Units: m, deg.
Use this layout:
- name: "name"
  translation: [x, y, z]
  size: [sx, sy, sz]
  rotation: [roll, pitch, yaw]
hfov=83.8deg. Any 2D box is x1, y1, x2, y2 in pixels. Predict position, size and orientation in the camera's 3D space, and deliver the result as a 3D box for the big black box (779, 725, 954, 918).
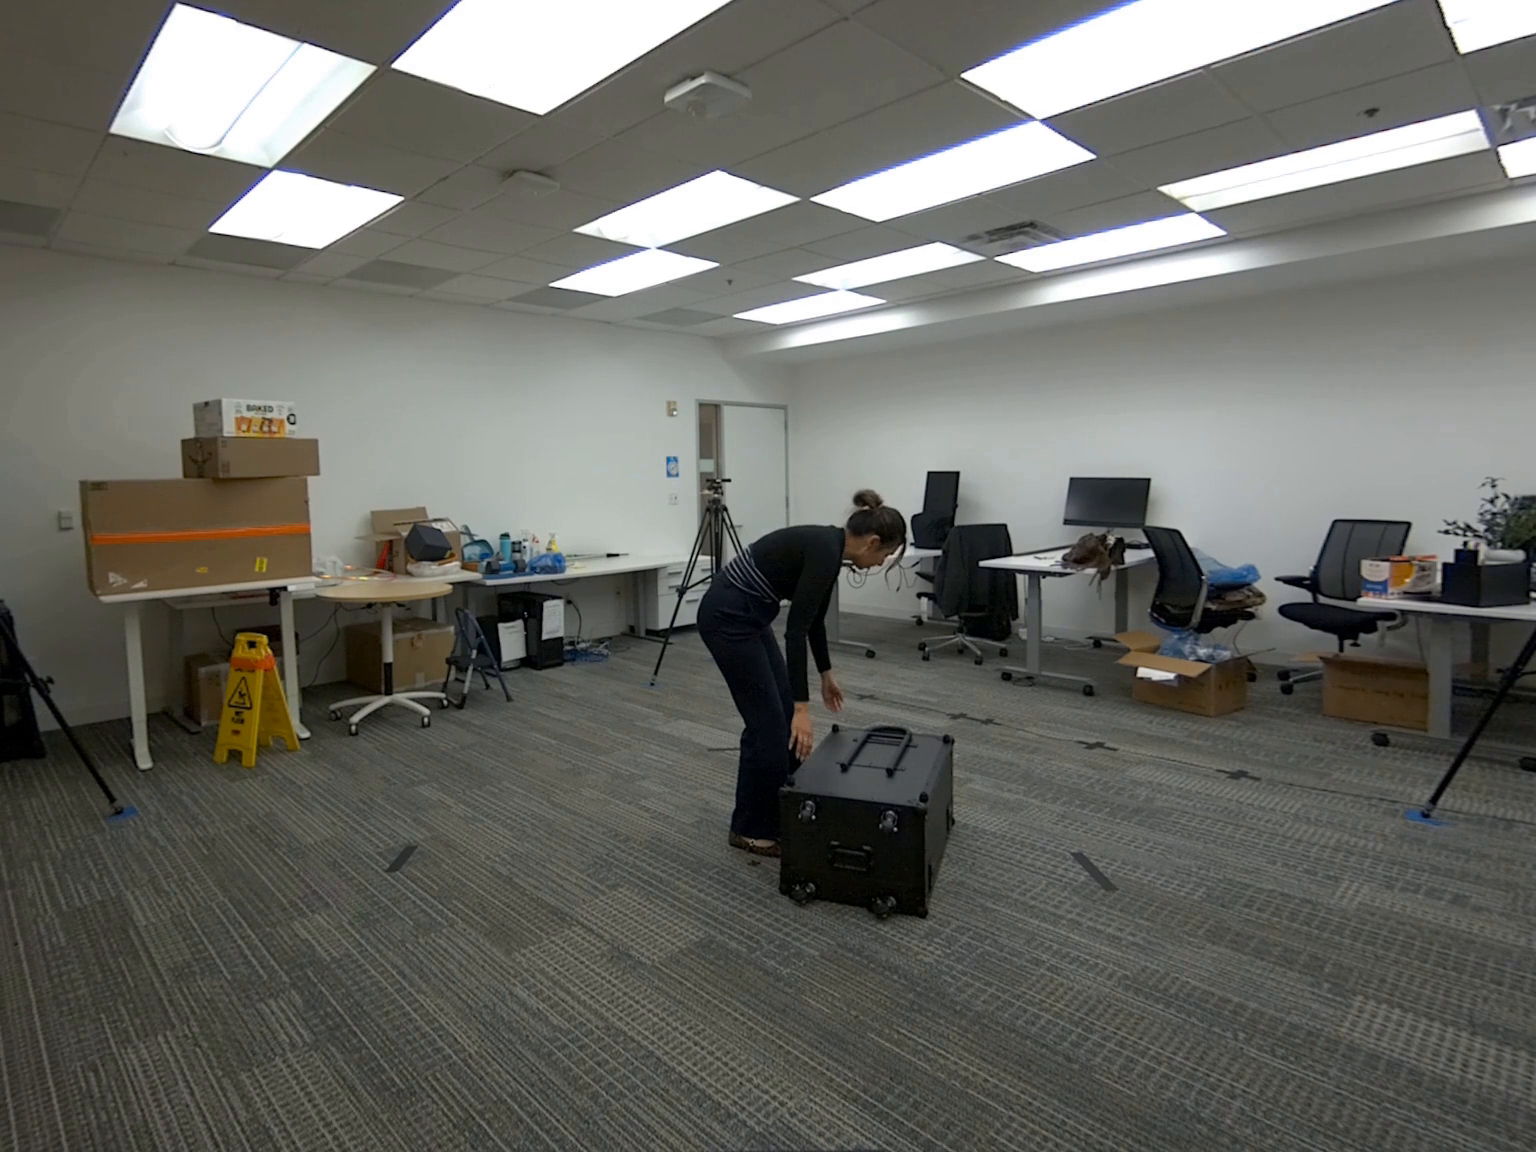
- name: "big black box"
  translation: [0.382, 0.843, 3.094]
  size: [0.531, 0.394, 0.850]
  rotation: [1, 8, 19]
